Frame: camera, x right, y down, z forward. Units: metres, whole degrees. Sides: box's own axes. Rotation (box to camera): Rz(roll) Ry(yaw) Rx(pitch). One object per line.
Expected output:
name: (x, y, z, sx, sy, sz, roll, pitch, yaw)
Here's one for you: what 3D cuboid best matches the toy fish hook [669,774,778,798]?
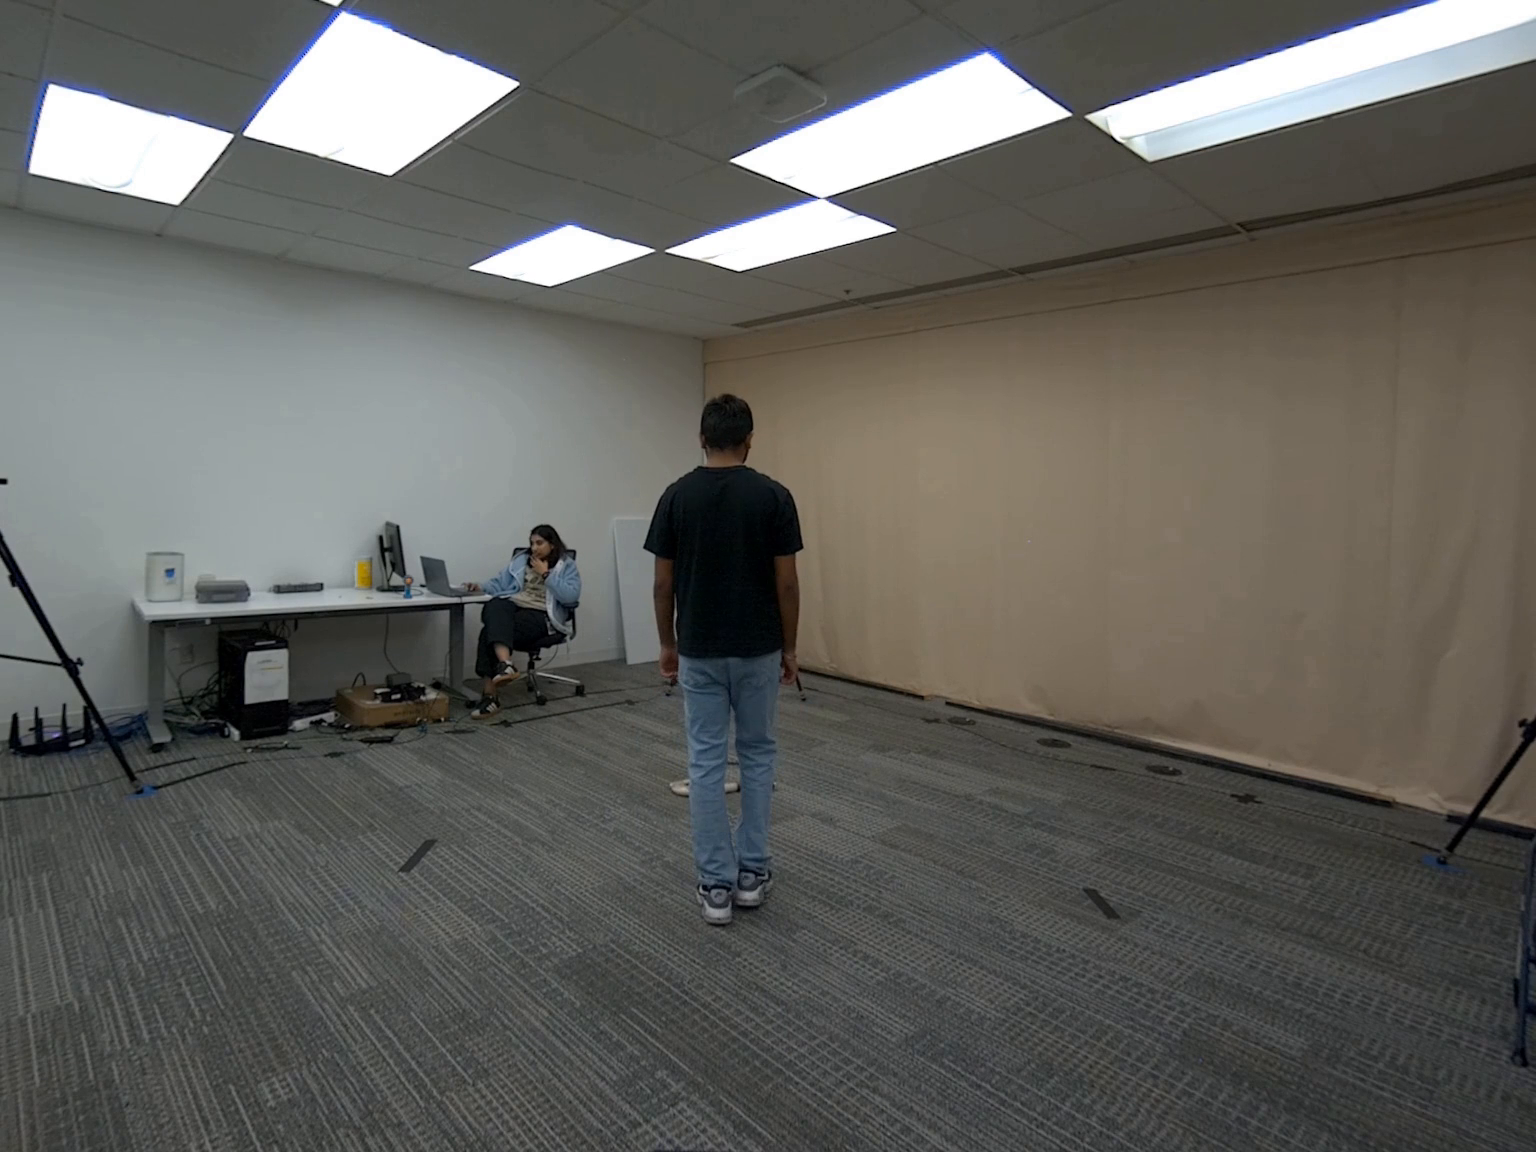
toy fish hook: (-0.225, 1.002, 4.053, 0.501, 0.048, 0.228, 1, 6, -14)
